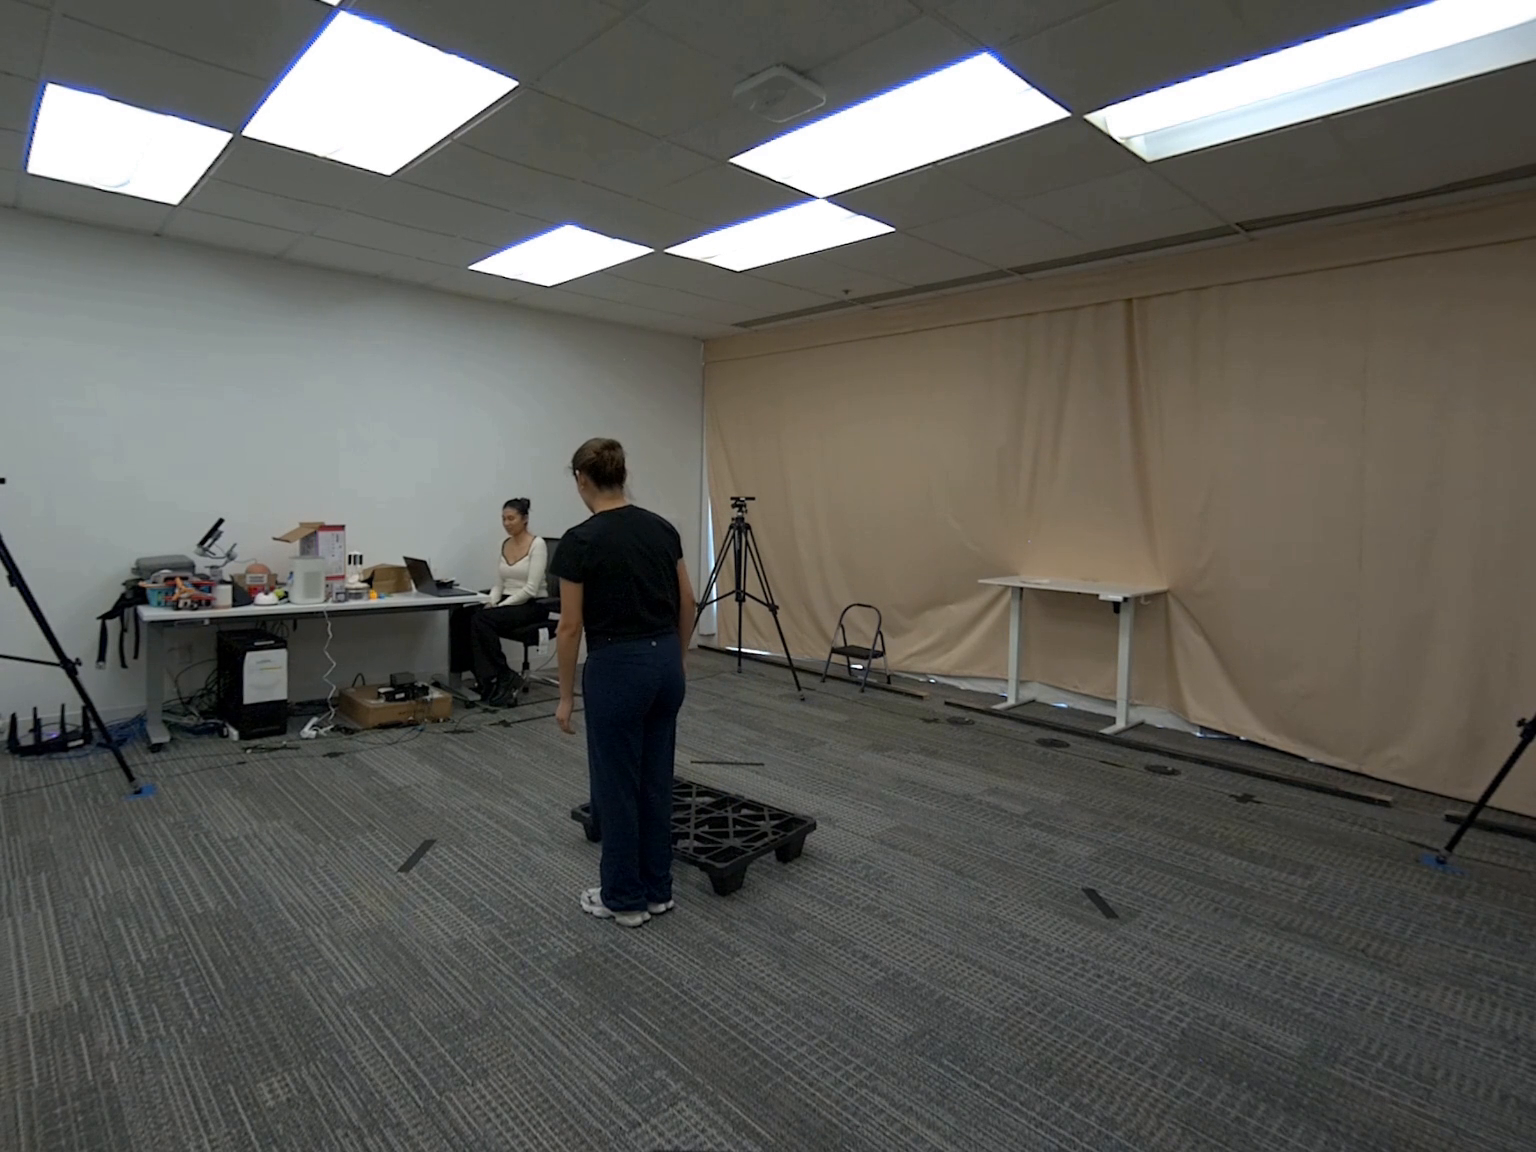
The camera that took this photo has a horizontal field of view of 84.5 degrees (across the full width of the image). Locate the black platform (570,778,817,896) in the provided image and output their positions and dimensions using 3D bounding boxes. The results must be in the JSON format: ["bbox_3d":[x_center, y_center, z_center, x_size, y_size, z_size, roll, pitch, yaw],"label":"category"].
[{"bbox_3d":[-0.303,1.018,3.326,0.825,0.143,0.592,5,7,38],"label":"black platform"}]
